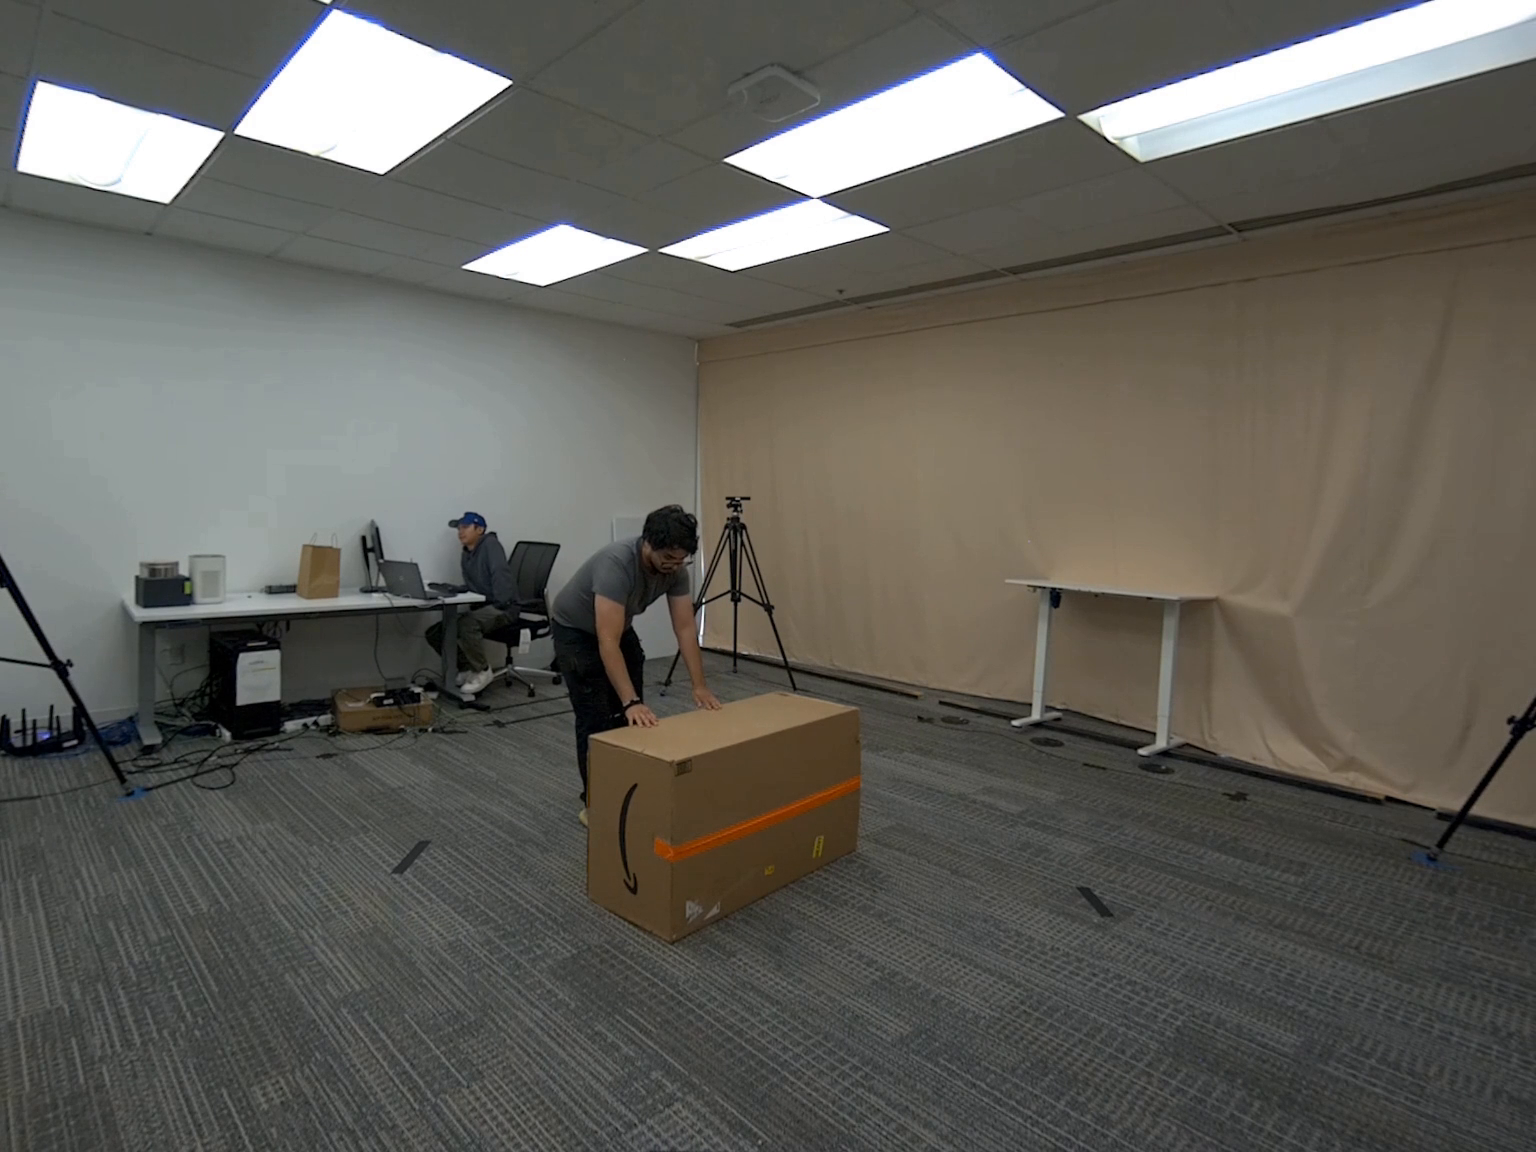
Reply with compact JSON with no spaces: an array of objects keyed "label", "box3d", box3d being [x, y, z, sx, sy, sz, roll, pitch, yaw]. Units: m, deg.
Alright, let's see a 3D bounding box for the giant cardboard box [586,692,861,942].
[{"label":"giant cardboard box","box3d":[-0.130,0.816,3.107,0.437,0.576,1.003,4,6,41]}]
